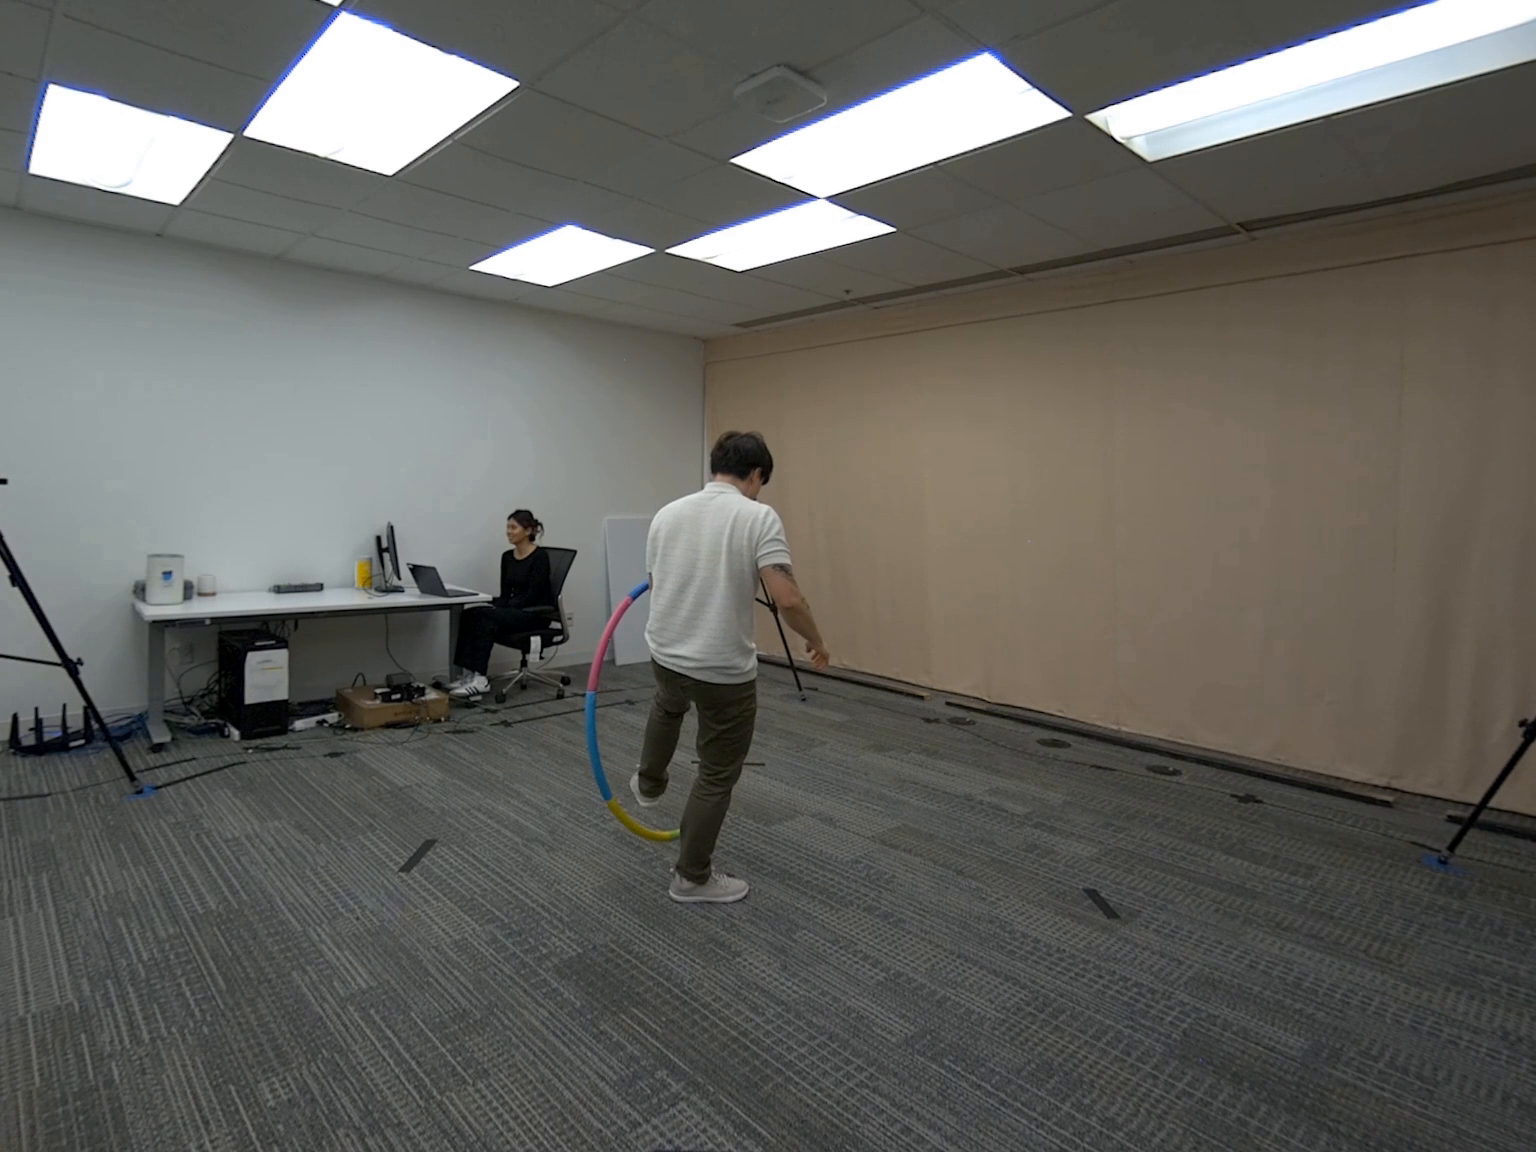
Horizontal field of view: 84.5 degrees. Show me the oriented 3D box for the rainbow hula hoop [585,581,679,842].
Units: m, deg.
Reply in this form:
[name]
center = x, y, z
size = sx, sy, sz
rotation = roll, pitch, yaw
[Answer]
[rainbow hula hoop]
center = -0.337, 0.483, 3.173
size = 0.036, 0.978, 0.959
rotation = -4, 1, 33
